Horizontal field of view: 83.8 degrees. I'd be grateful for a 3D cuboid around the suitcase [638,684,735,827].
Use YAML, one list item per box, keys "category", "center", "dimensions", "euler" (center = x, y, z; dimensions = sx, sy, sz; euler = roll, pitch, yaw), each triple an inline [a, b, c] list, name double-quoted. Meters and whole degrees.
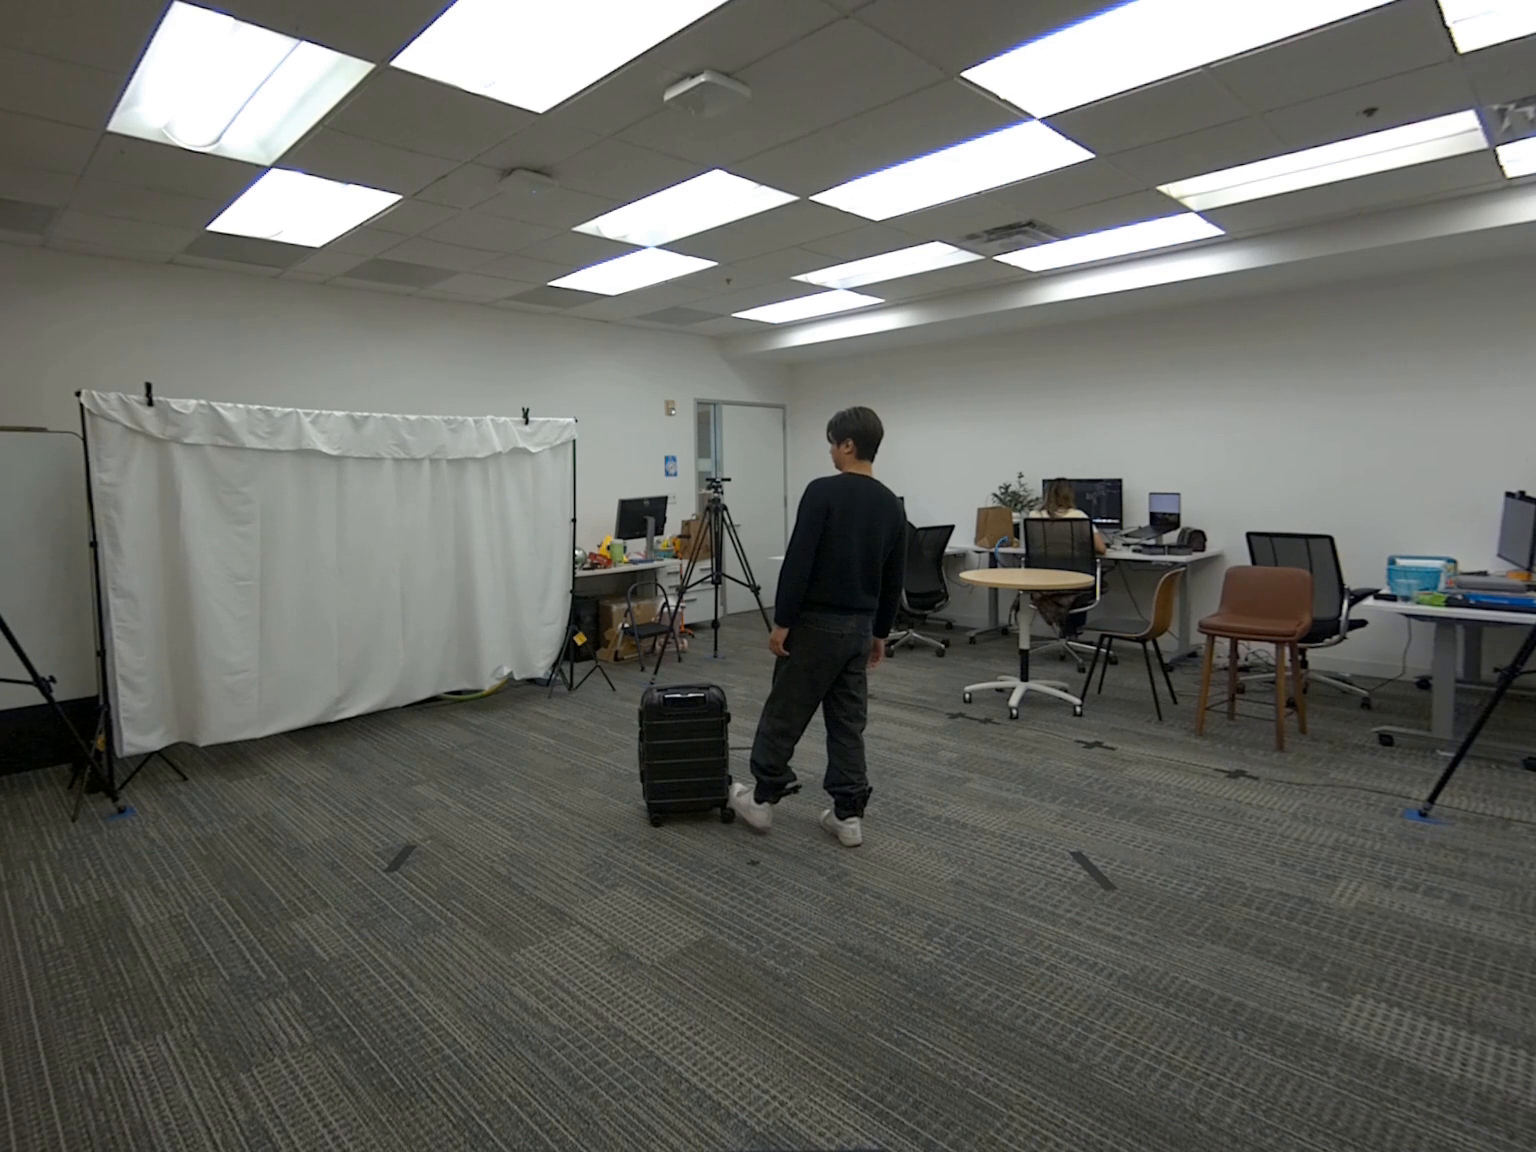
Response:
- category: "suitcase"
  center: [-0.351, 0.722, 3.566]
  dimensions: [0.373, 0.547, 0.250]
  euler: [-2, 4, -6]
